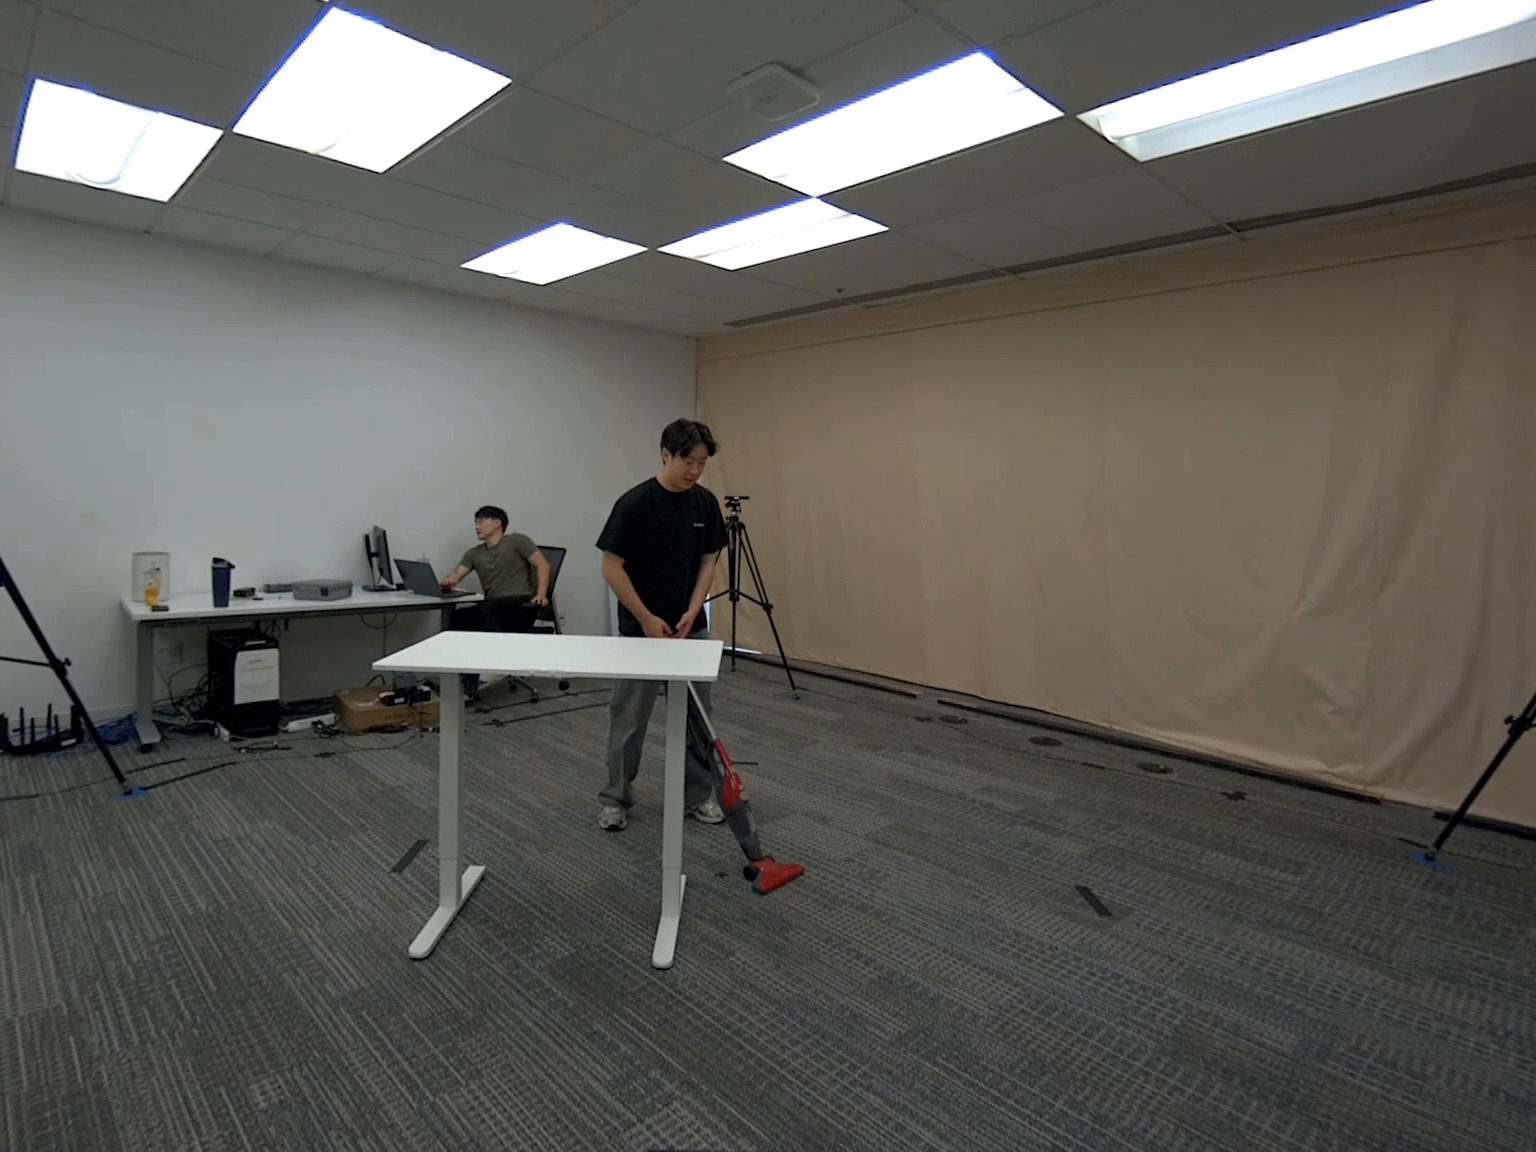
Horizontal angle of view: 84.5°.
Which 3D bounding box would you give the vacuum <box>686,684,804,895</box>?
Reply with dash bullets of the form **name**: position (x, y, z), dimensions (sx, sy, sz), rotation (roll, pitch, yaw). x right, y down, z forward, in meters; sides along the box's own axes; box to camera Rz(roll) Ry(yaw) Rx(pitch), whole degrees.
- **vacuum**: position (-0.223, 0.673, 3.264), dimensions (0.144, 1.072, 0.246), rotation (-41, -25, 29)
